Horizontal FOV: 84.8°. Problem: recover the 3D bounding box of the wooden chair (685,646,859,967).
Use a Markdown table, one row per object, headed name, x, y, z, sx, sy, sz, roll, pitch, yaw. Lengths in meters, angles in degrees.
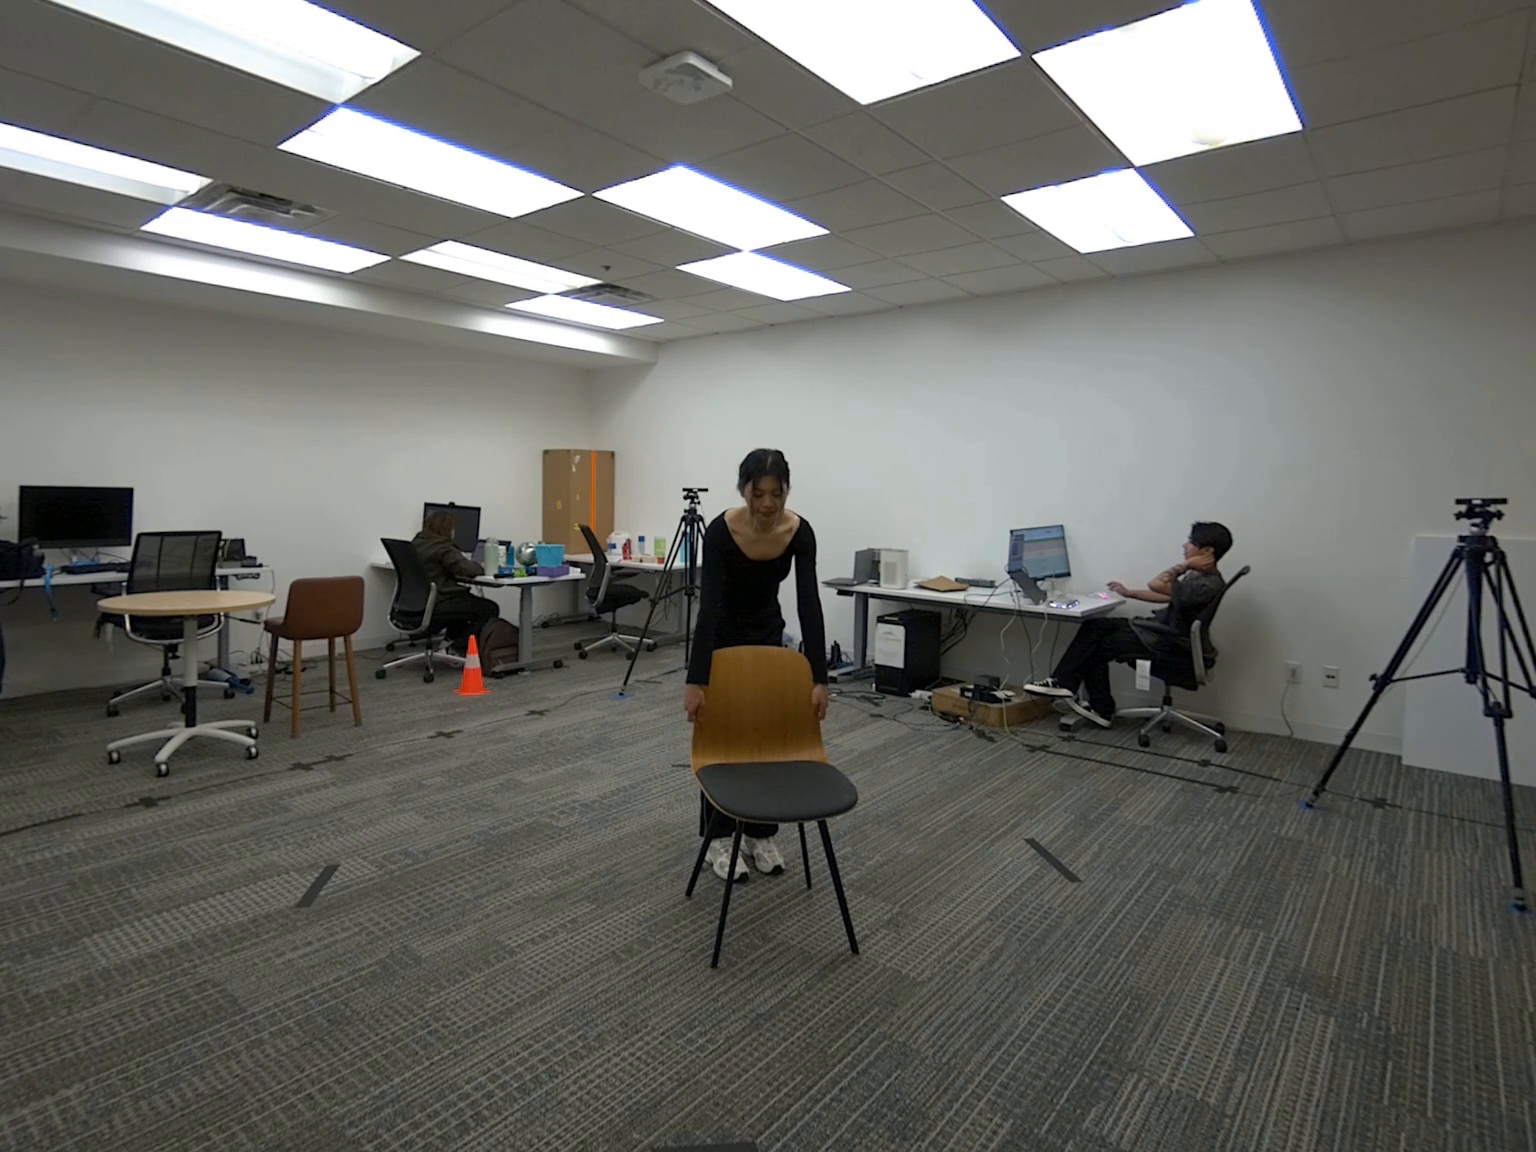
| name | x | y | z | sx | sy | sz | roll | pitch | yaw |
| --- | --- | --- | --- | --- | --- | --- | --- | --- | --- |
| wooden chair | 0.005 | 0.684 | 2.691 | 0.471 | 0.878 | 0.530 | 1 | -1 | -14 |
